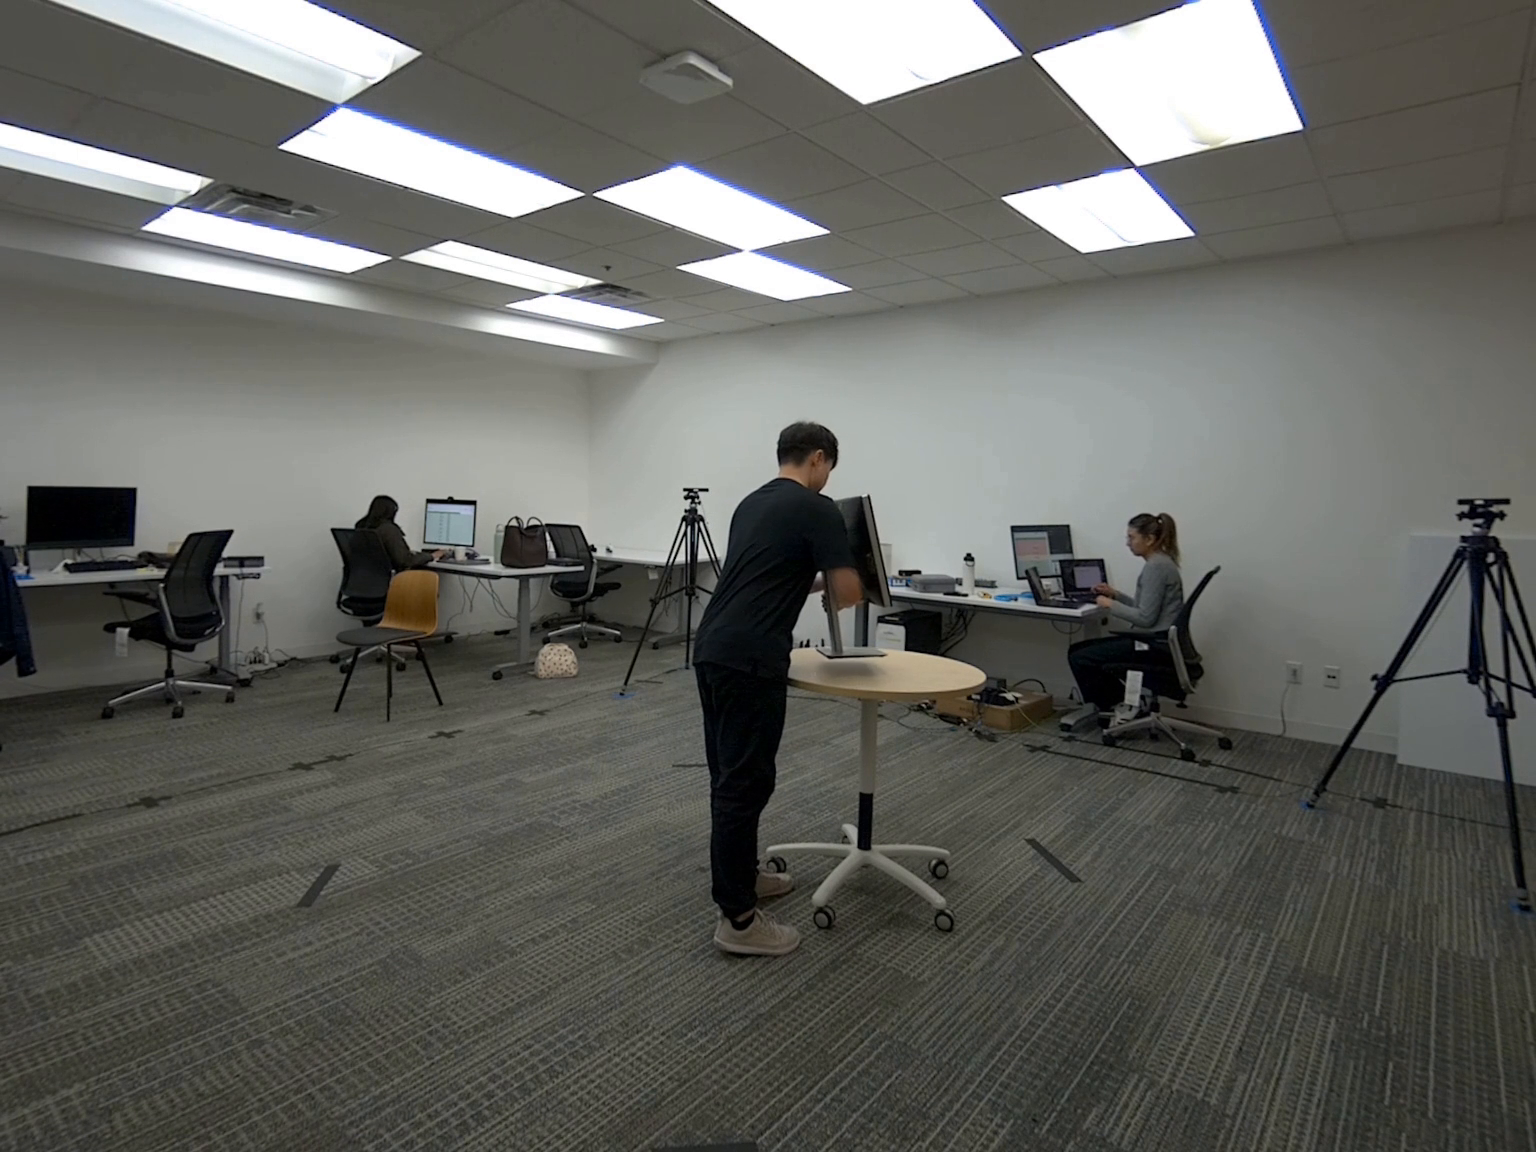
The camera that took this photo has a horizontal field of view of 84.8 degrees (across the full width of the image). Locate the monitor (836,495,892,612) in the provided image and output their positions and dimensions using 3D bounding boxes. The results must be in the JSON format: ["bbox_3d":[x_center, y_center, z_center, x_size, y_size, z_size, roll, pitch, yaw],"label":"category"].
[{"bbox_3d":[0.260,0.011,2.936,0.186,0.522,0.544,0,2,-8],"label":"monitor"}]
